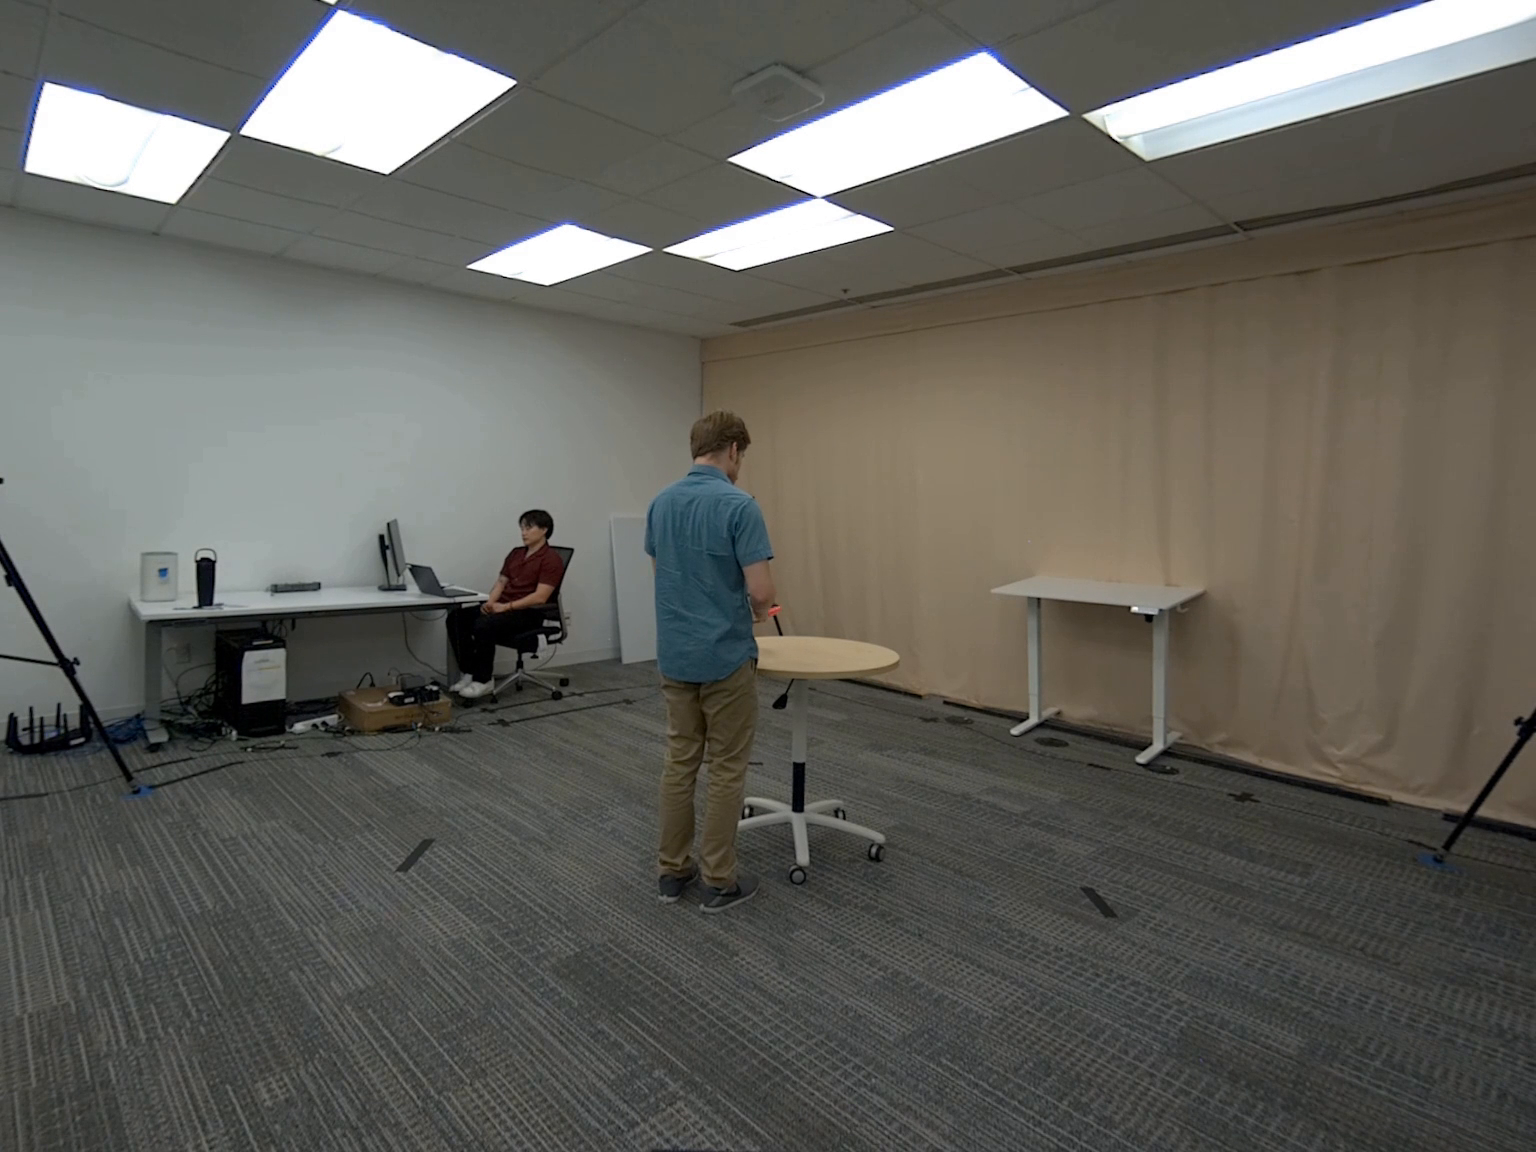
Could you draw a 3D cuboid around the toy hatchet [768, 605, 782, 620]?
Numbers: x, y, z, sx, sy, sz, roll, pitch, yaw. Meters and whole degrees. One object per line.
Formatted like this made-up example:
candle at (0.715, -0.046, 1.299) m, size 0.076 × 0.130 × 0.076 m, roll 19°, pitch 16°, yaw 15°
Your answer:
toy hatchet at (-0.045, 0.172, 3.295) m, size 0.132 × 0.029 × 0.267 m, roll -27°, pitch 0°, yaw 37°
